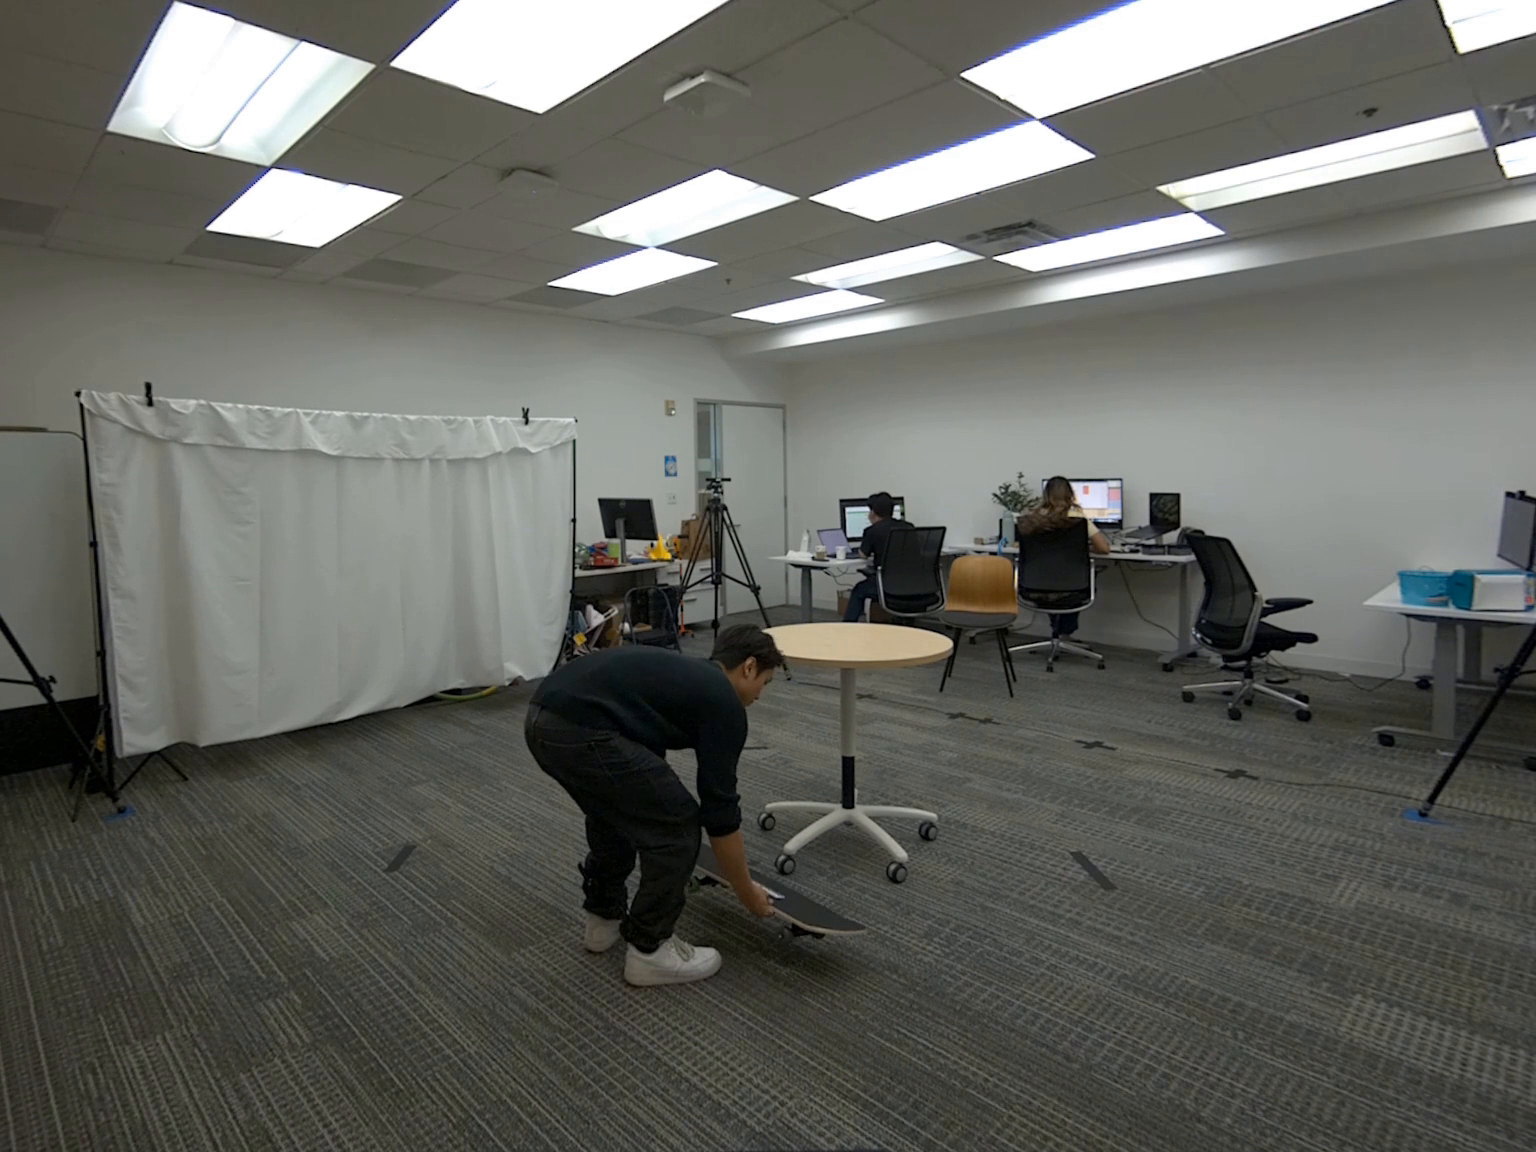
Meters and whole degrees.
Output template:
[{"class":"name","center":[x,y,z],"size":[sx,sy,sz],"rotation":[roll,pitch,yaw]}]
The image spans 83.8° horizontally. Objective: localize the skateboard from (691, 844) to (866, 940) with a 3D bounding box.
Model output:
[{"class":"skateboard","center":[-0.029,0.991,2.630],"size":[0.811,0.110,0.187],"rotation":[8,-4,44]}]
